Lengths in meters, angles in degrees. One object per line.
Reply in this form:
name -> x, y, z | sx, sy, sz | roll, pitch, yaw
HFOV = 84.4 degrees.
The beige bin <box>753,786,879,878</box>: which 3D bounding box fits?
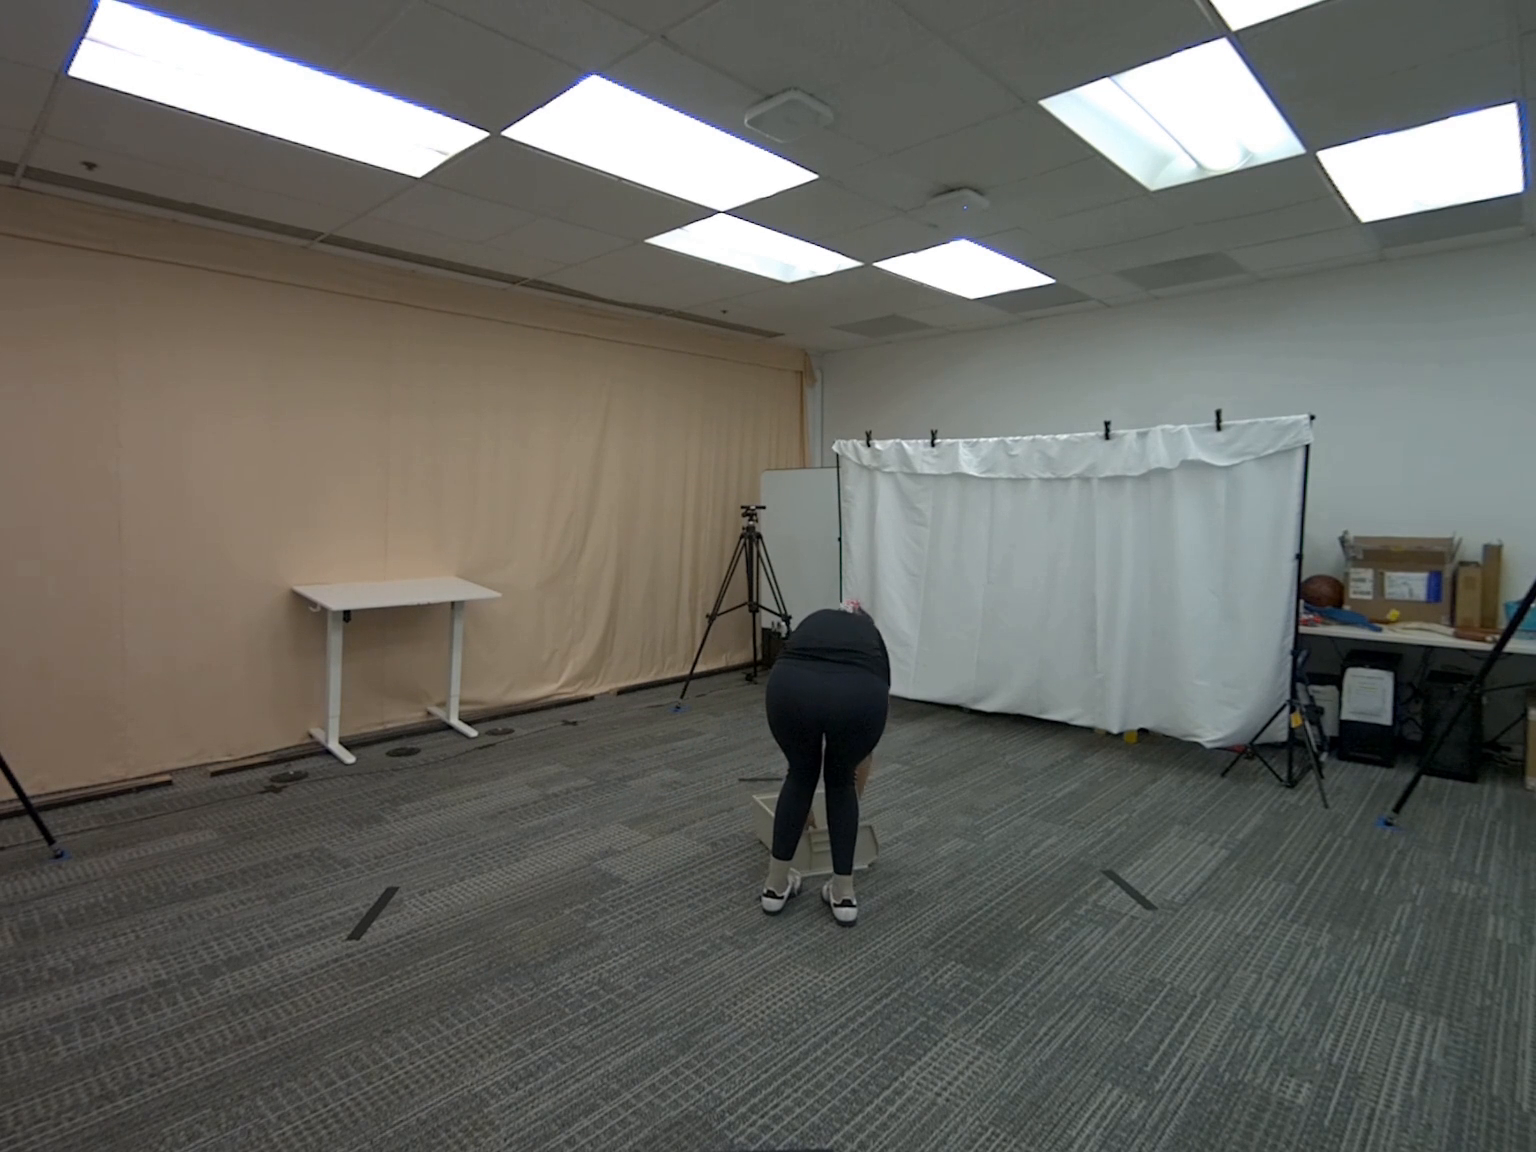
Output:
beige bin -> 0.186, 1.017, 3.378 | 0.370, 0.188, 0.432 | -2, 6, -19
